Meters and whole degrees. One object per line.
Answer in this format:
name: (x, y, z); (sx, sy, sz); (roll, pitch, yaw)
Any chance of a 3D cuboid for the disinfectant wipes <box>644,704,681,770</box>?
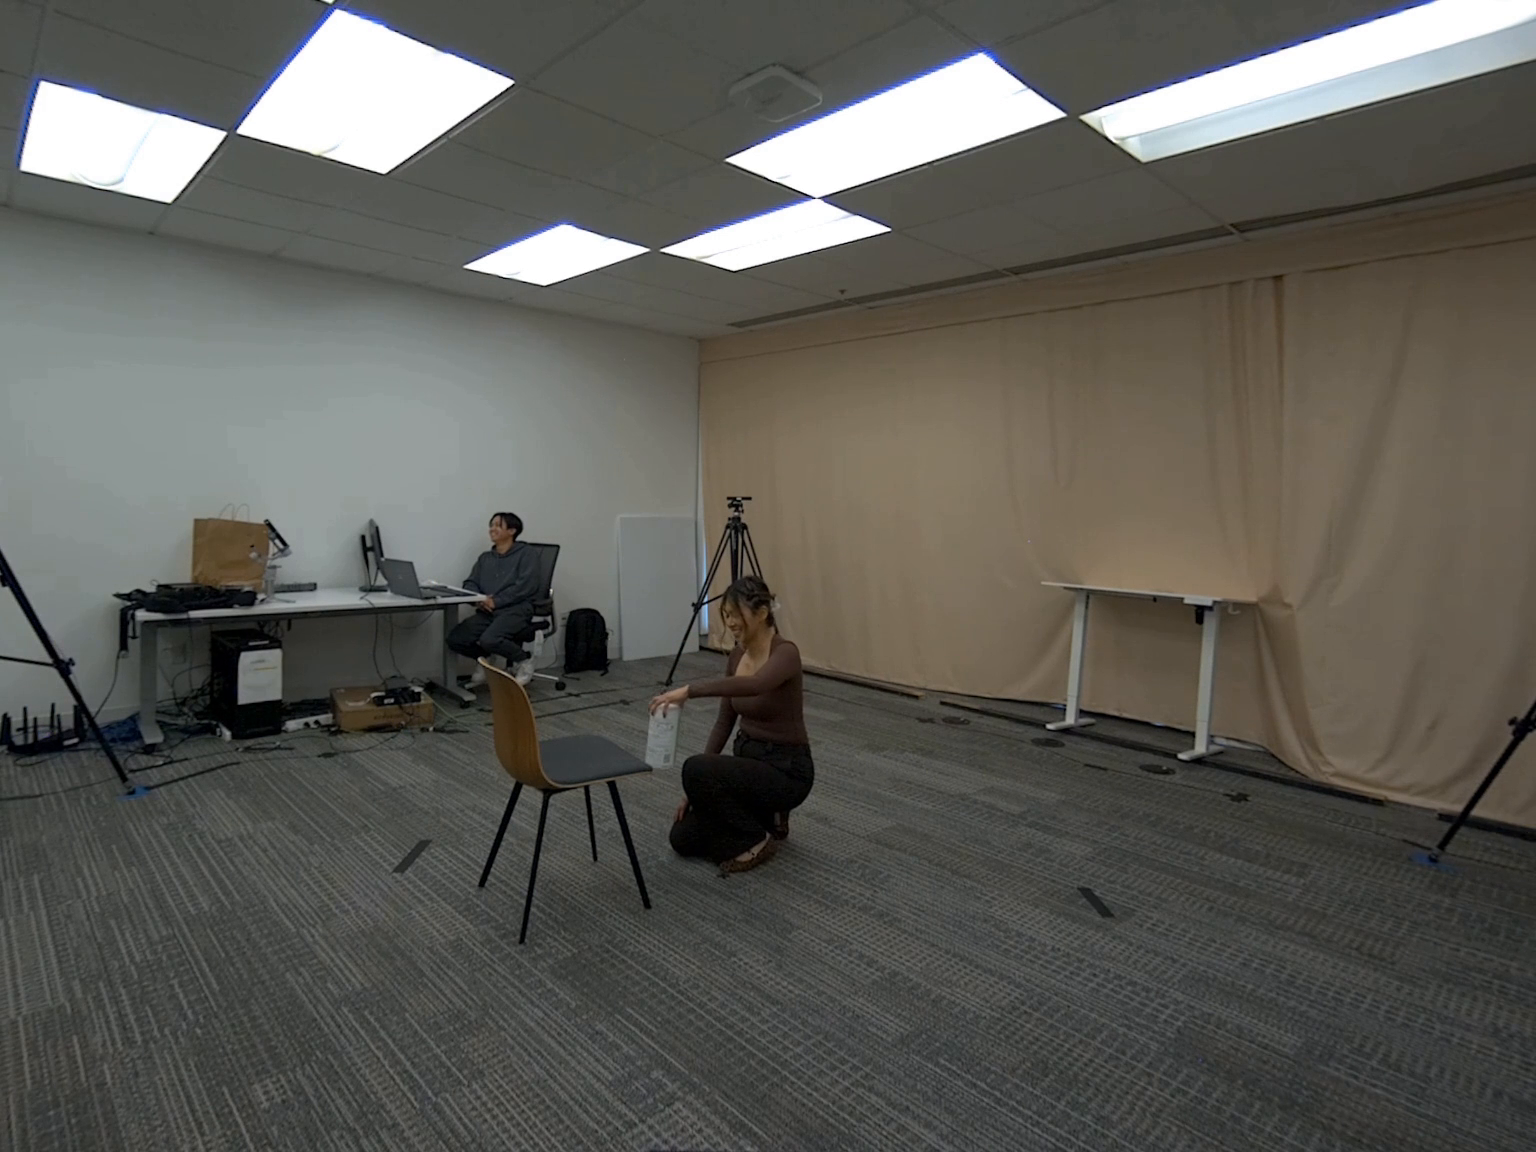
disinfectant wipes: (-0.381, 0.581, 3.021); (0.117, 0.217, 0.118); (5, 4, -2)
